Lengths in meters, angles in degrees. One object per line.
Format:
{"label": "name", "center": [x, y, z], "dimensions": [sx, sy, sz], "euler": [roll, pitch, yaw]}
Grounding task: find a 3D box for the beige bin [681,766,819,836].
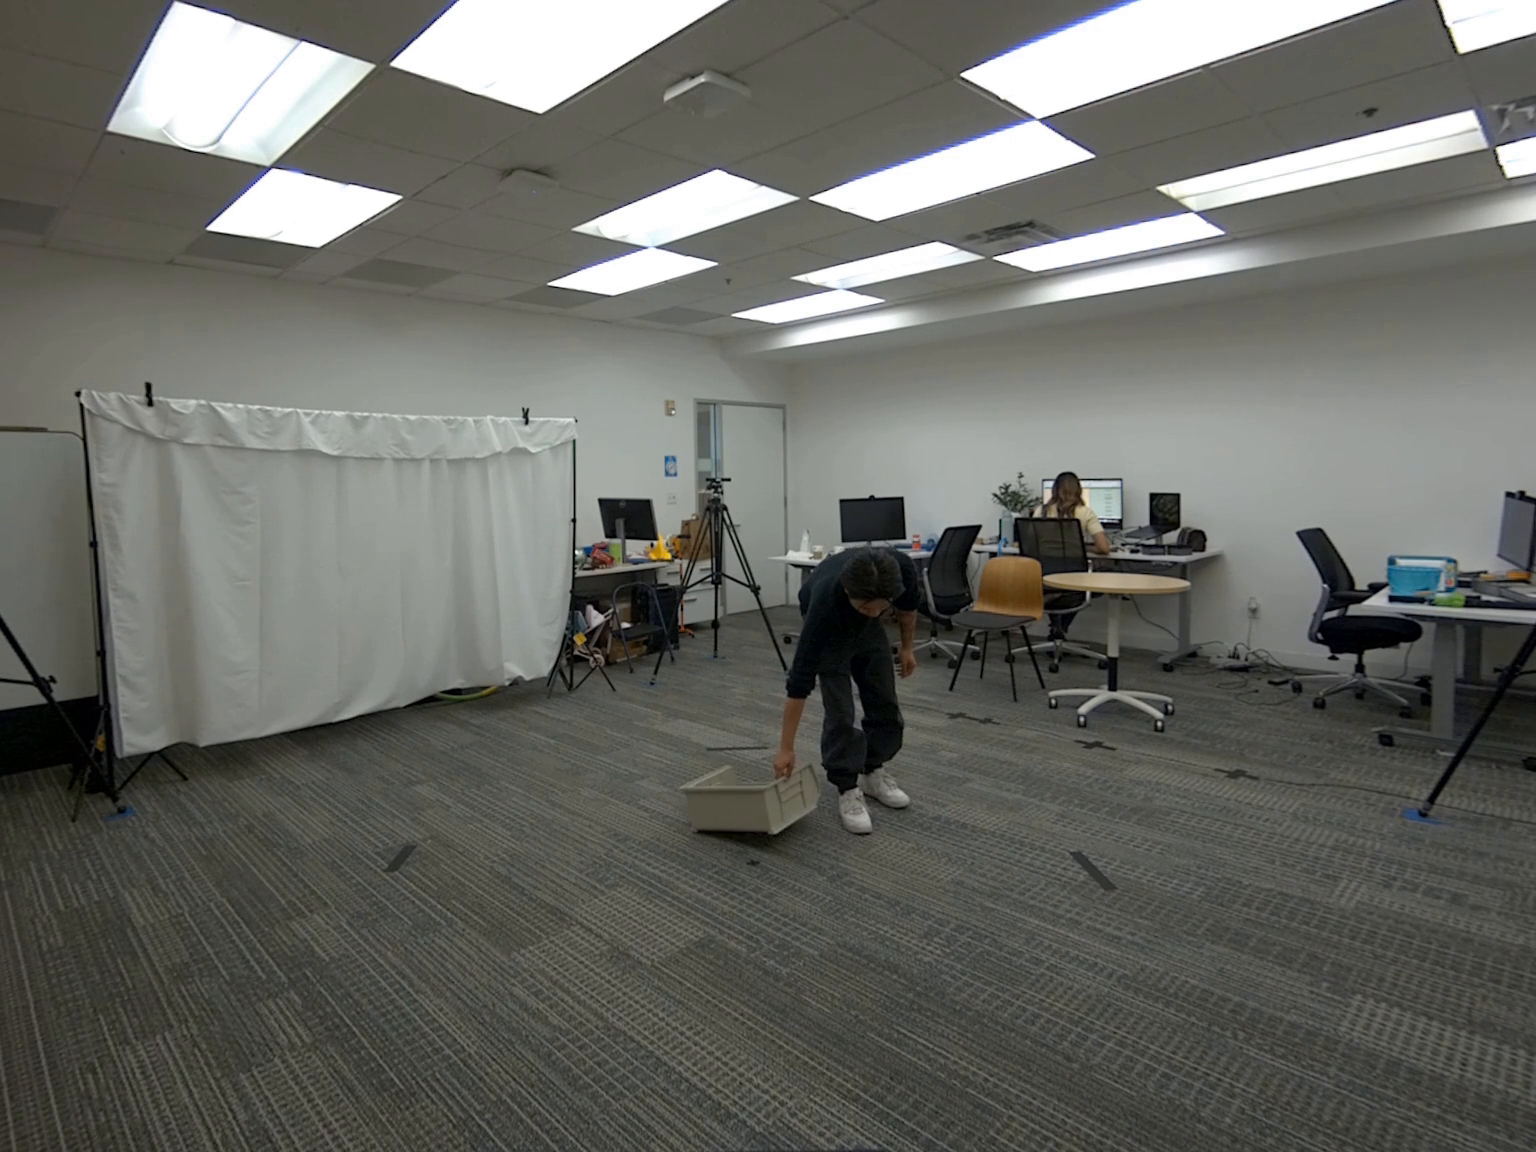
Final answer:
{"label": "beige bin", "center": [-0.063, 0.877, 3.411], "dimensions": [0.431, 0.189, 0.369], "euler": [-10, 1, 34]}
